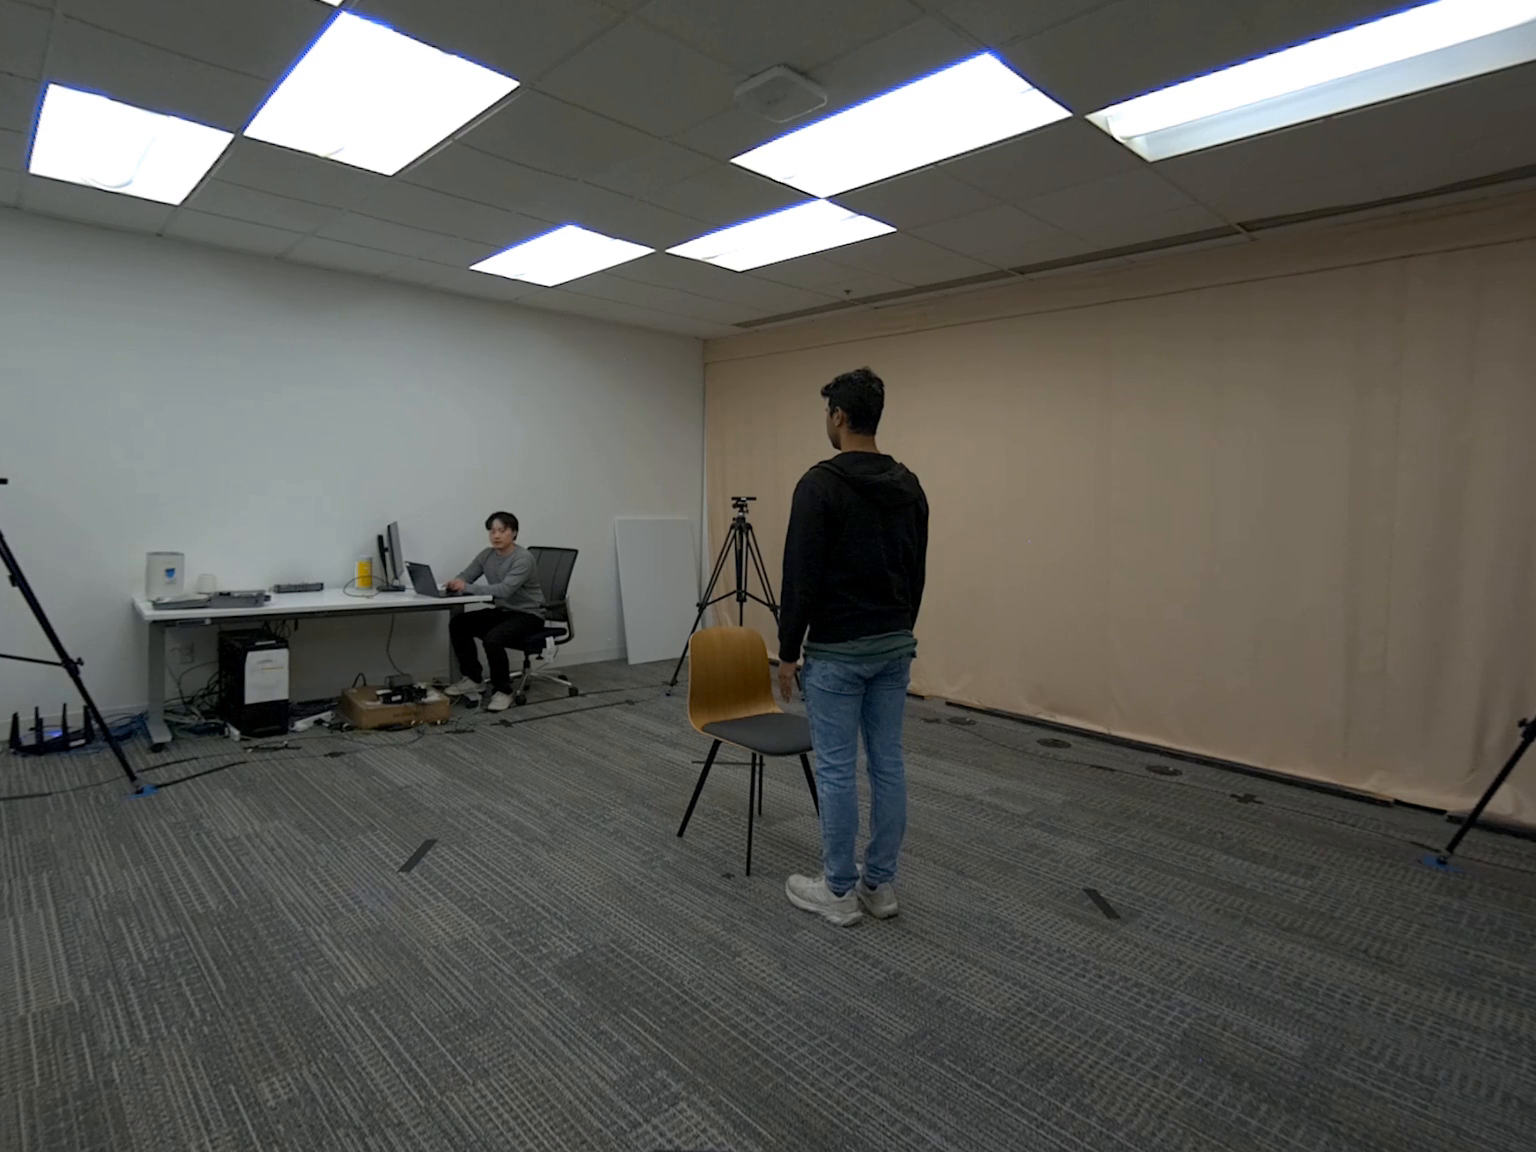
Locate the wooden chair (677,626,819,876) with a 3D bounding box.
[{"bbox_3d":[-0.049,0.660,3.384,0.467,0.878,0.535,-1,-1,-40],"label":"wooden chair"}]
